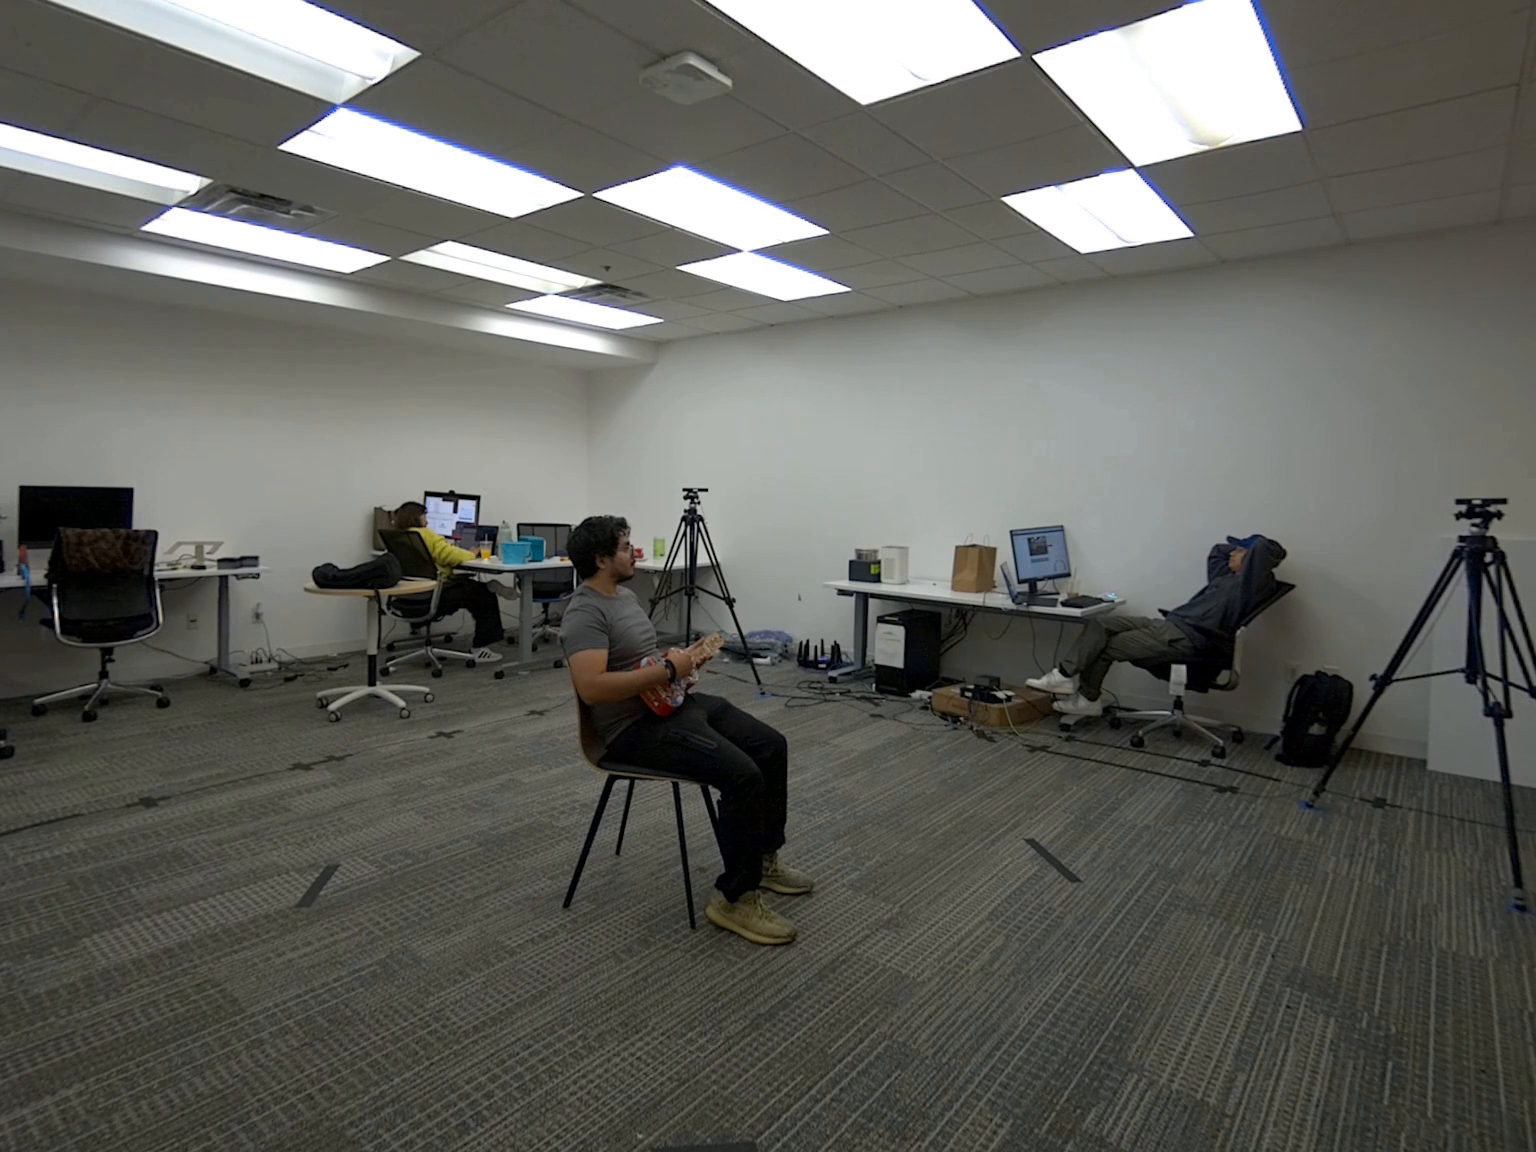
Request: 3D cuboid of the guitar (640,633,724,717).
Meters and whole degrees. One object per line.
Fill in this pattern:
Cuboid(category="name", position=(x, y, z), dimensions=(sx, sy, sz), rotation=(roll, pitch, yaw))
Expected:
Cuboid(category="guitar", position=(-0.277, 0.330, 2.930), dimensions=(0.071, 0.197, 0.487), rotation=(-44, -14, 29))
